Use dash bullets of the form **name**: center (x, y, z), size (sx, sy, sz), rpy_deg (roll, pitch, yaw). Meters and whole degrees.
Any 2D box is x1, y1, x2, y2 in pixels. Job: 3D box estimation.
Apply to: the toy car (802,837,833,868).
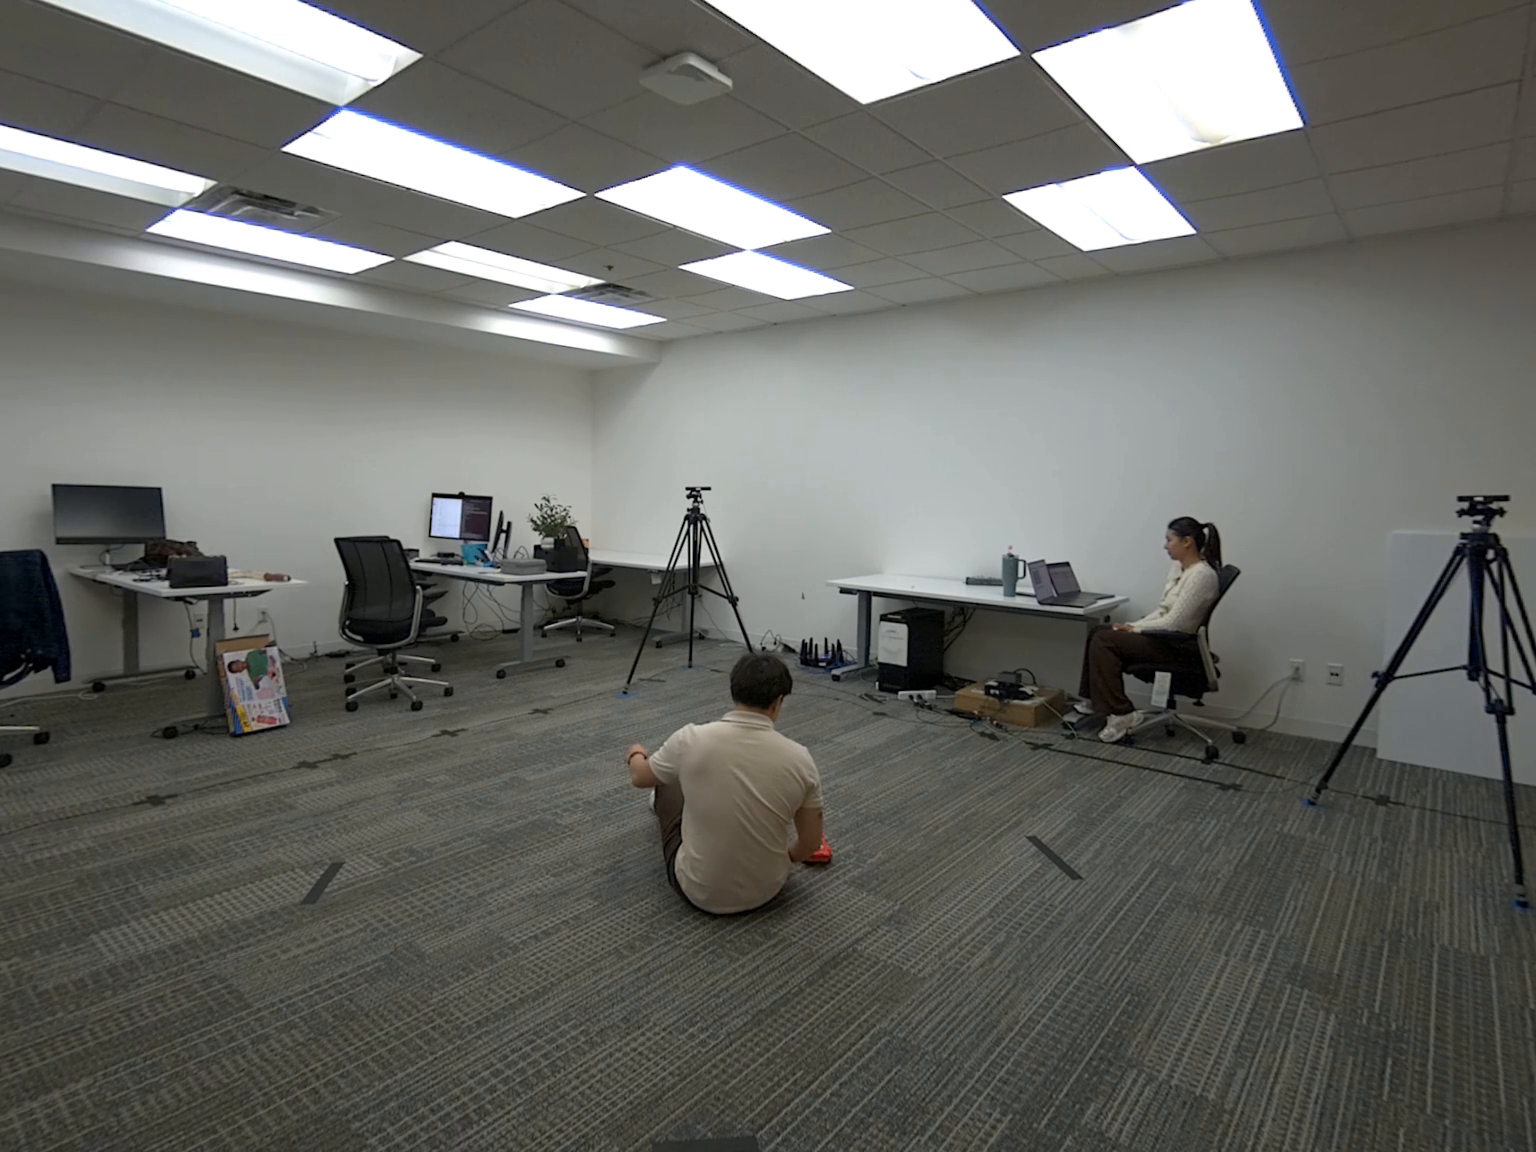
- **toy car**: center (0.170, 1.031, 3.228), size (0.130, 0.084, 0.254), rpy_deg (1, -4, -3)
